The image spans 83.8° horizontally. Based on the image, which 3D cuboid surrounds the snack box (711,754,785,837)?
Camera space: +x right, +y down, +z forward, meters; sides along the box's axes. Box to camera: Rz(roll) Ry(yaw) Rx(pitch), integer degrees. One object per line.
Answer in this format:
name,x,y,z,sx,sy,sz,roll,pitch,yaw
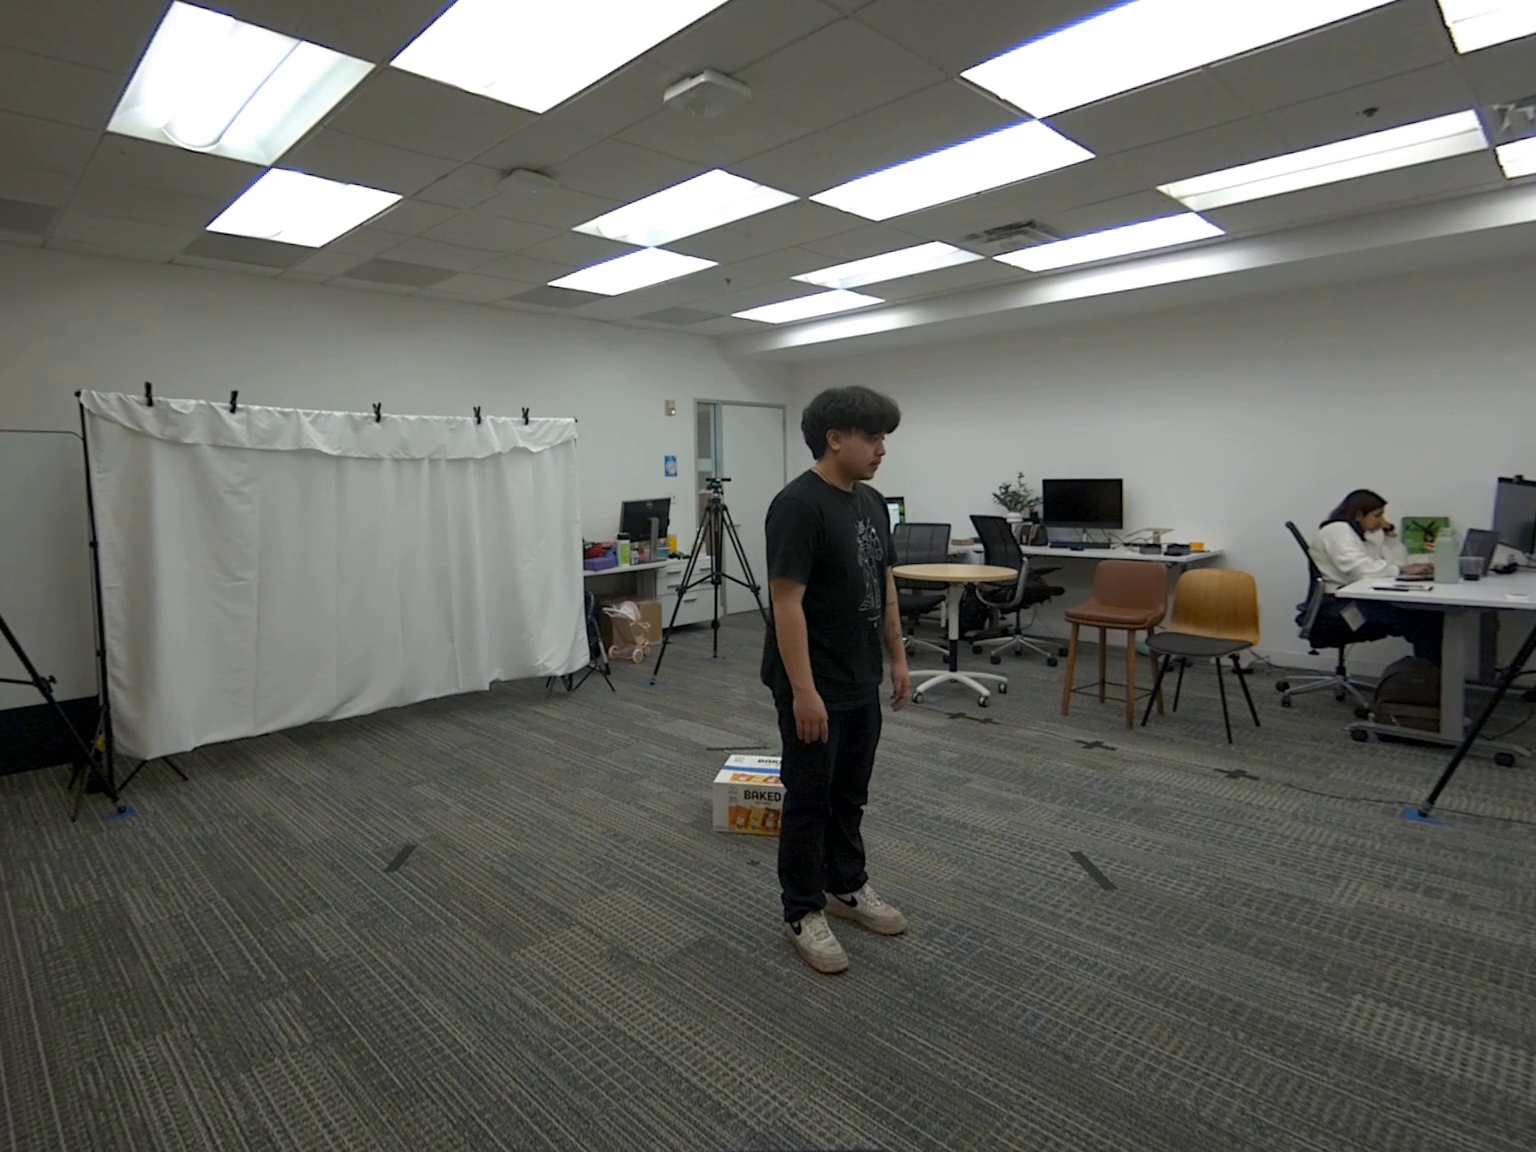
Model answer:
snack box,0.011,0.892,3.497,0.410,0.205,0.338,0,6,12
